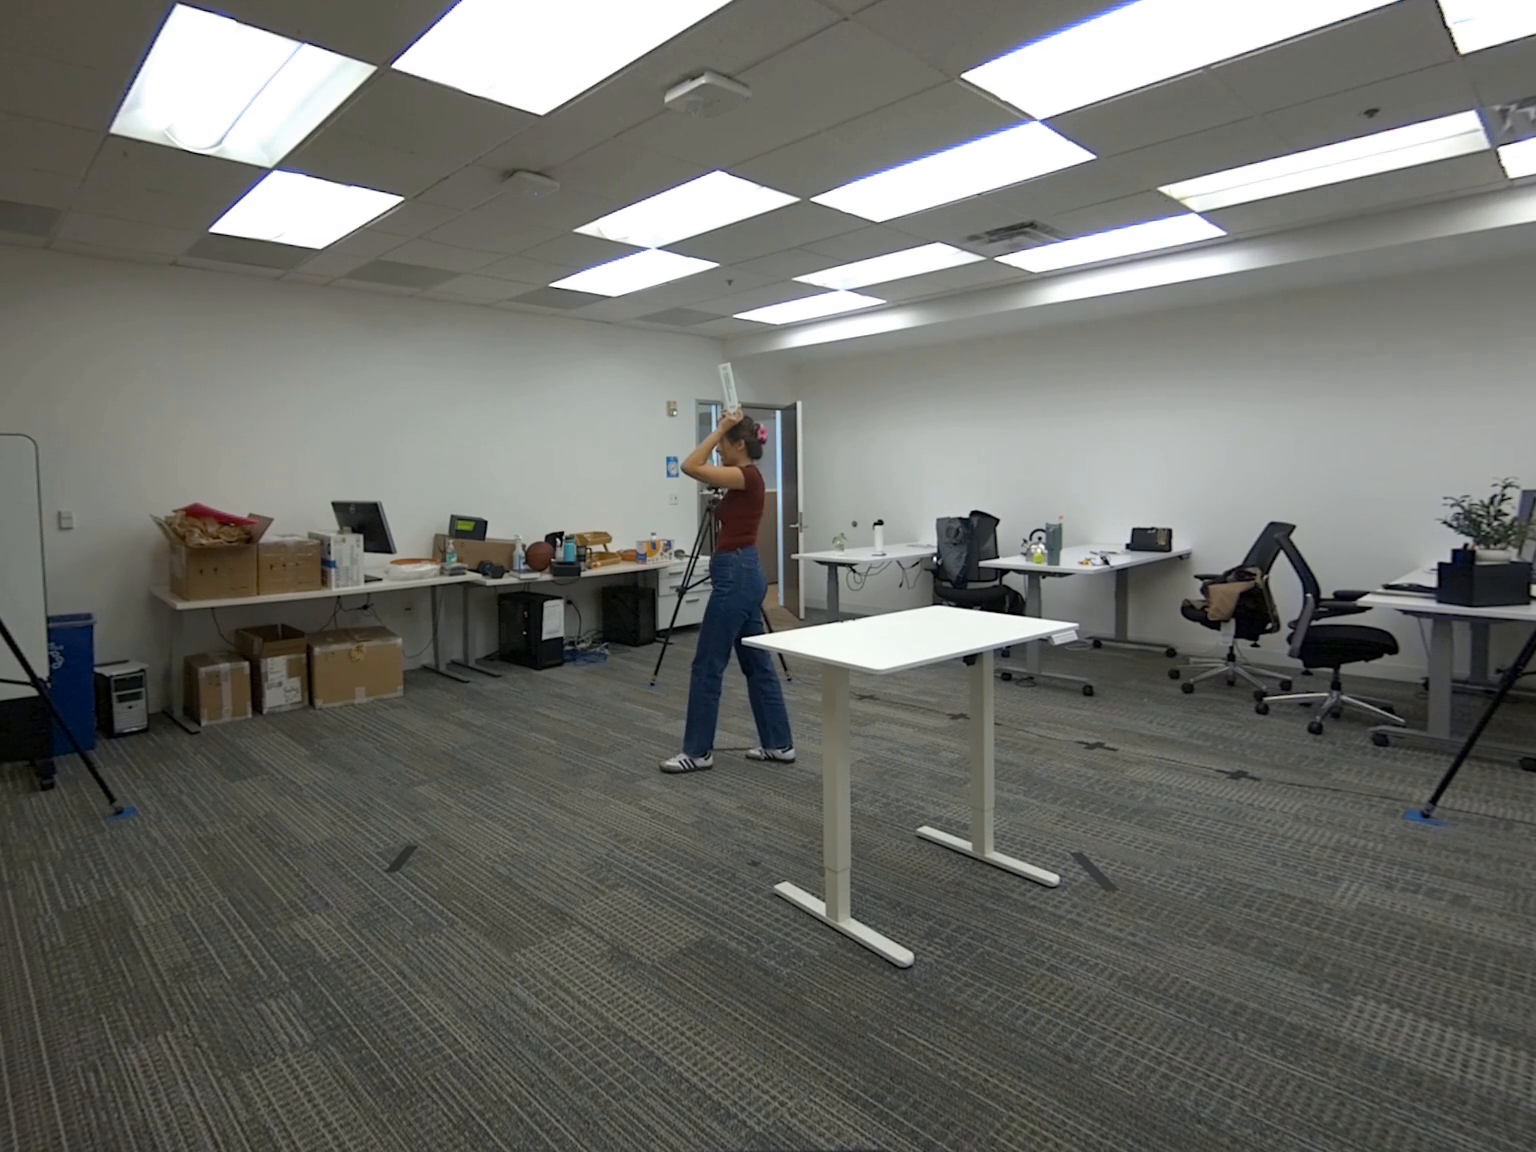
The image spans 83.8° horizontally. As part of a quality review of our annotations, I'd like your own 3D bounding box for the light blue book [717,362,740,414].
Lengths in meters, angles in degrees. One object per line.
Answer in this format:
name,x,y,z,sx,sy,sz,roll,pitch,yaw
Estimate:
light blue book,-0.196,-0.887,4.135,0.059,0.259,0.193,-14,8,-5
